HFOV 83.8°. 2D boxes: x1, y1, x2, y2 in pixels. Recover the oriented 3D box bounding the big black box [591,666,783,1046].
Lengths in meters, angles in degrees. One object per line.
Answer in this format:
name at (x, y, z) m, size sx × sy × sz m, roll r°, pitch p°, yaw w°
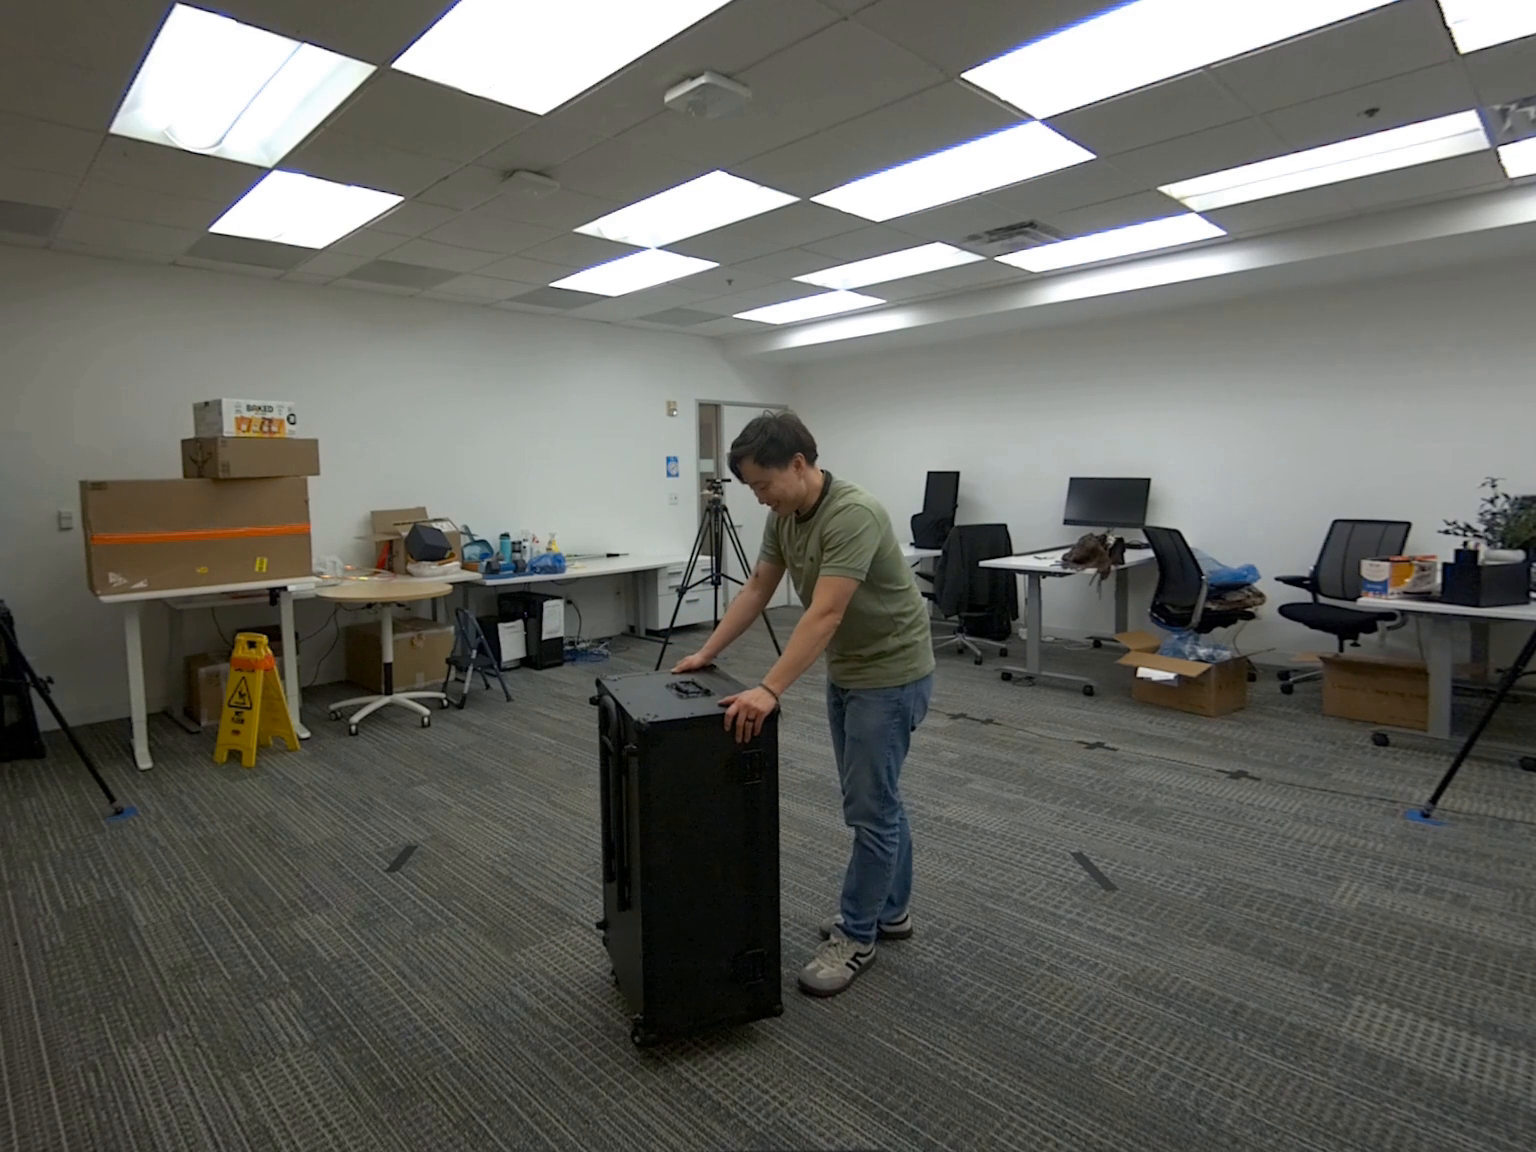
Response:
big black box at (-0.223, 0.720, 2.252) m, size 0.389 × 0.858 × 0.533 m, roll -3°, pitch 5°, yaw -21°
